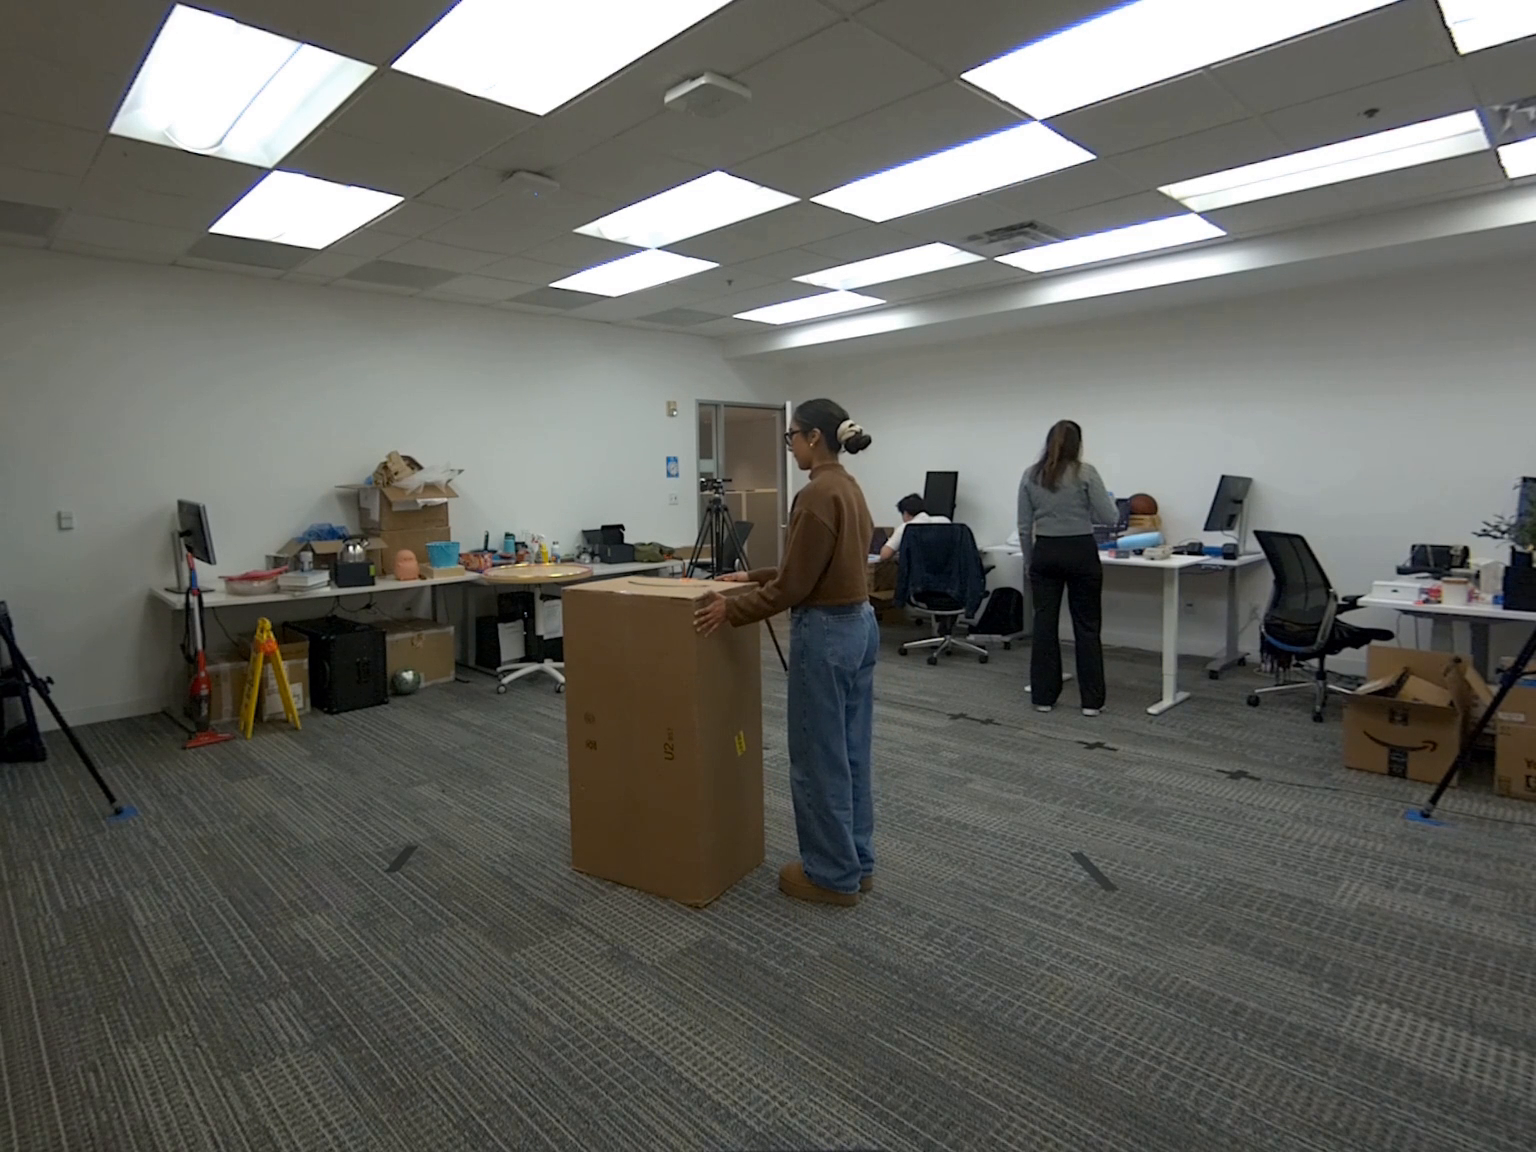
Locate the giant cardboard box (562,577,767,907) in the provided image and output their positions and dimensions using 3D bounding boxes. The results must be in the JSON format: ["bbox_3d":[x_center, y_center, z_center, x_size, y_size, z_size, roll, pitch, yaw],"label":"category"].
[{"bbox_3d":[-0.371,0.542,3.083,0.593,1.022,0.416,2,5,32],"label":"giant cardboard box"}]
